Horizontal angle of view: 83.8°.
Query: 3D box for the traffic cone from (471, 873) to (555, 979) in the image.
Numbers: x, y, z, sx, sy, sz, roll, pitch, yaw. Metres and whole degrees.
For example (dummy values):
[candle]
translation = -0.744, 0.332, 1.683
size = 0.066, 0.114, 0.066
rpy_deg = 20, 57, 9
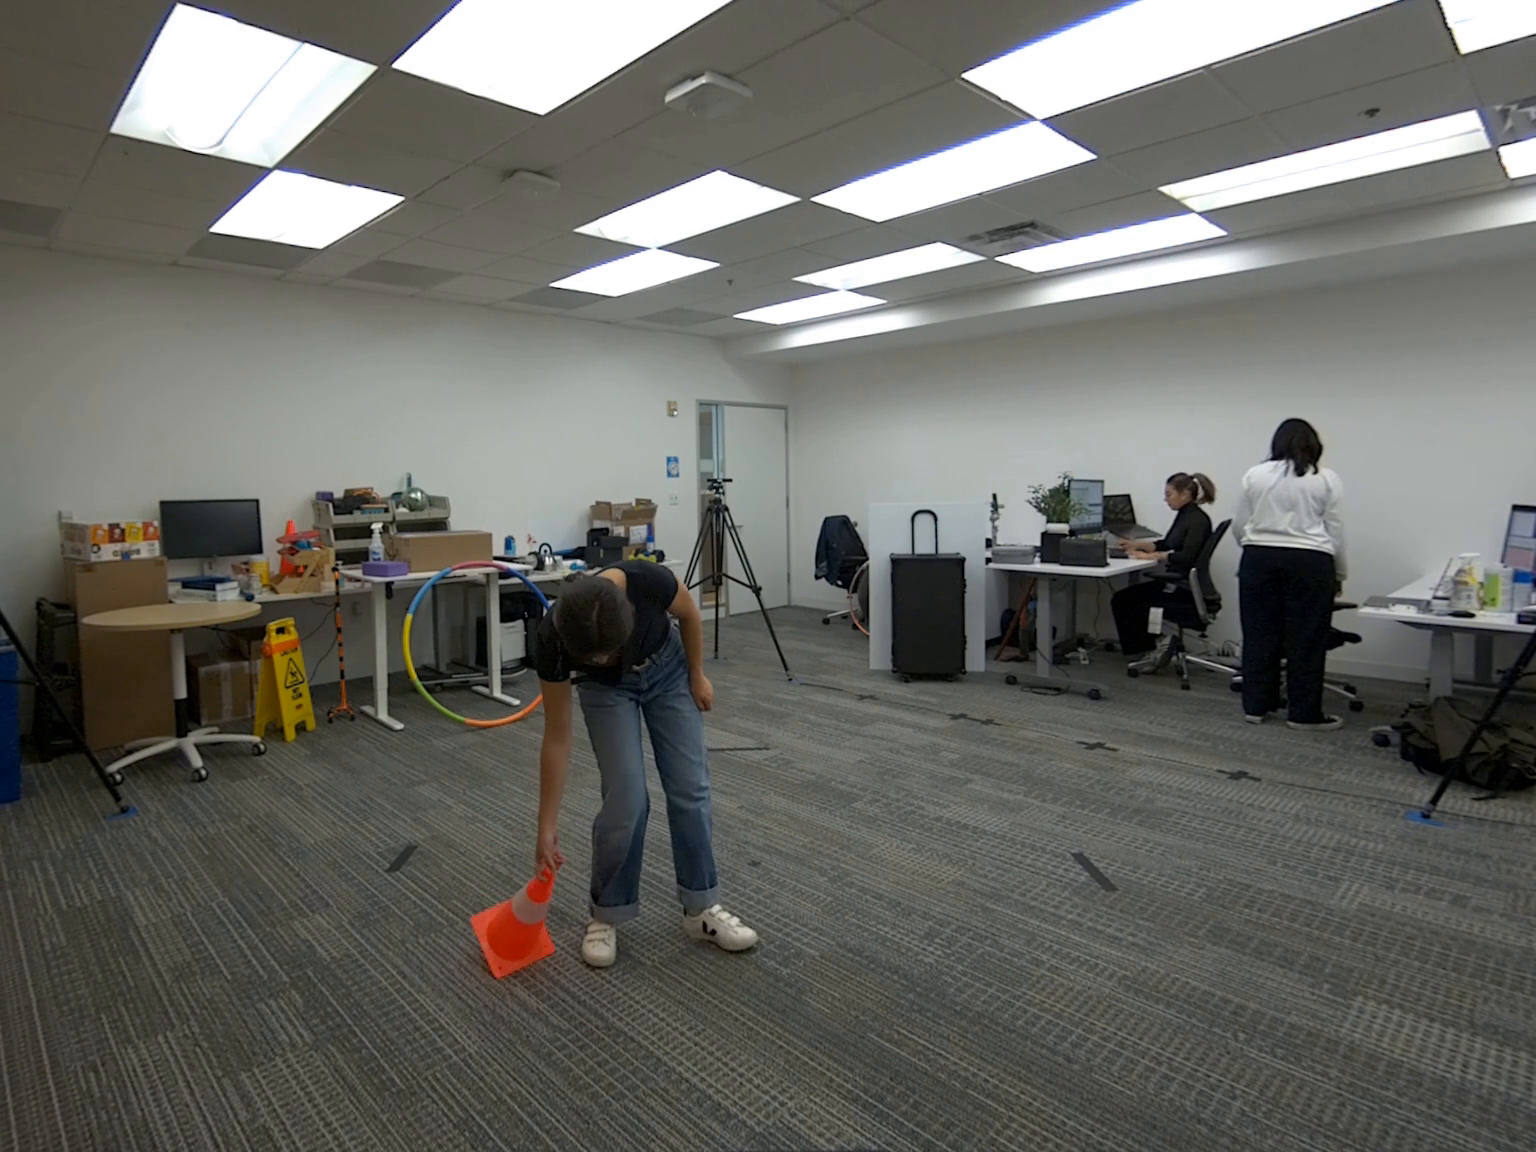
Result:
[traffic cone]
translation = -0.666, 0.933, 2.434
size = 0.198, 0.380, 0.212
rpy_deg = -3, 43, -42
